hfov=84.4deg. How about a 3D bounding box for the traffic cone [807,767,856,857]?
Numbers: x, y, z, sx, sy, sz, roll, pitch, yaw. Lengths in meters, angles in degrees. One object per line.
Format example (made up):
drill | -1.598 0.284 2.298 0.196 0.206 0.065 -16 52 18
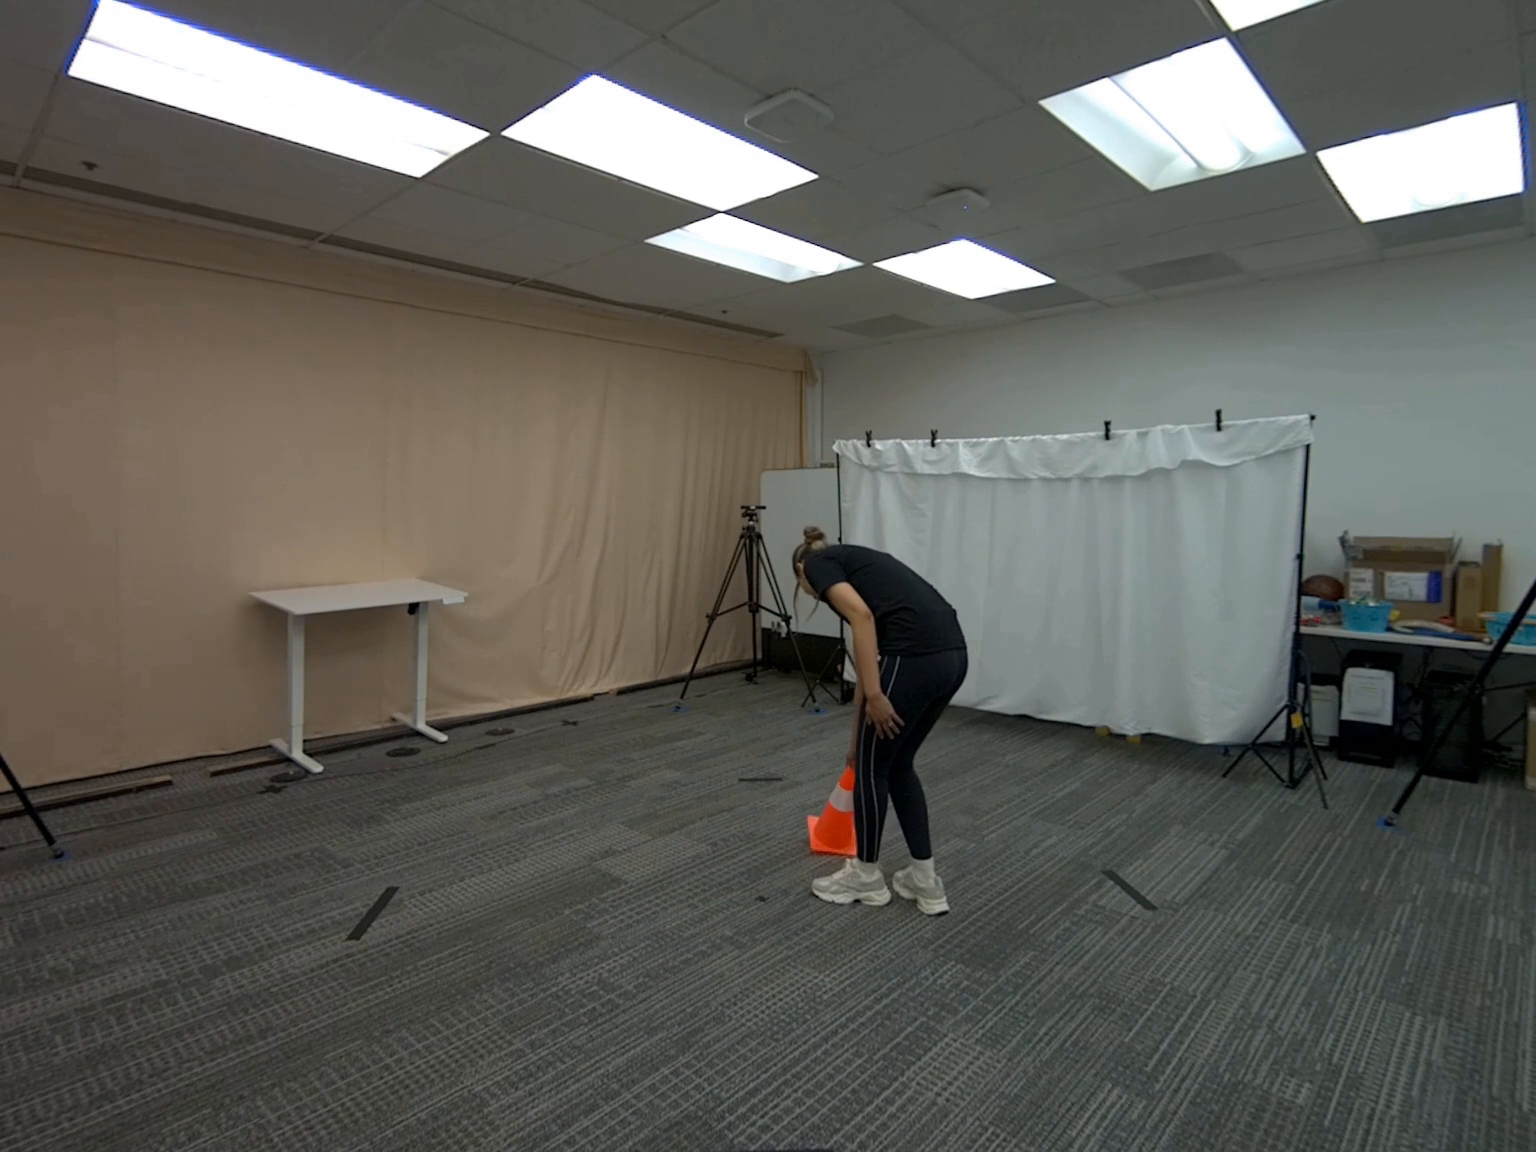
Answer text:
traffic cone | 0.313 0.898 3.359 0.201 0.380 0.209 4 22 -10
